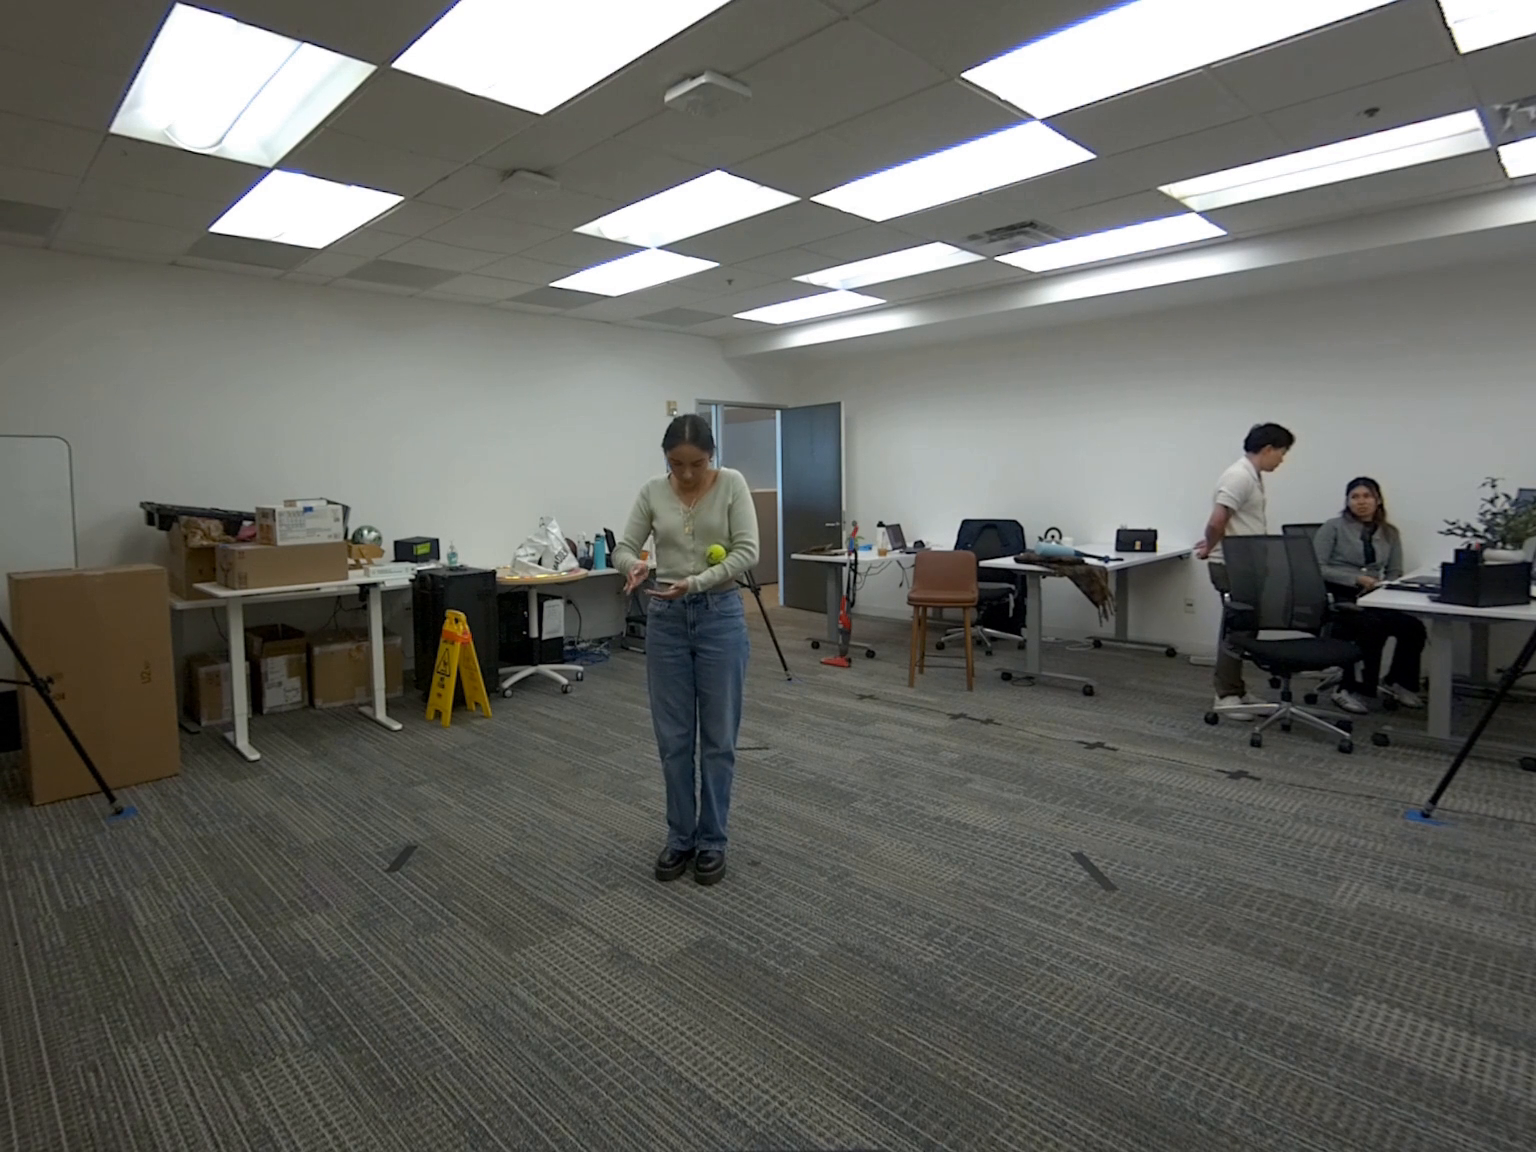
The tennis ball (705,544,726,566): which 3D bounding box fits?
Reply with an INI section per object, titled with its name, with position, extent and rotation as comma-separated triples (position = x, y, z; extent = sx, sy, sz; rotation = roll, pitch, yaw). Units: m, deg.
[tennis ball]
position = -0.198, -0.063, 2.936
extent = 0.066, 0.066, 0.067
rotation = -1, 5, -2
